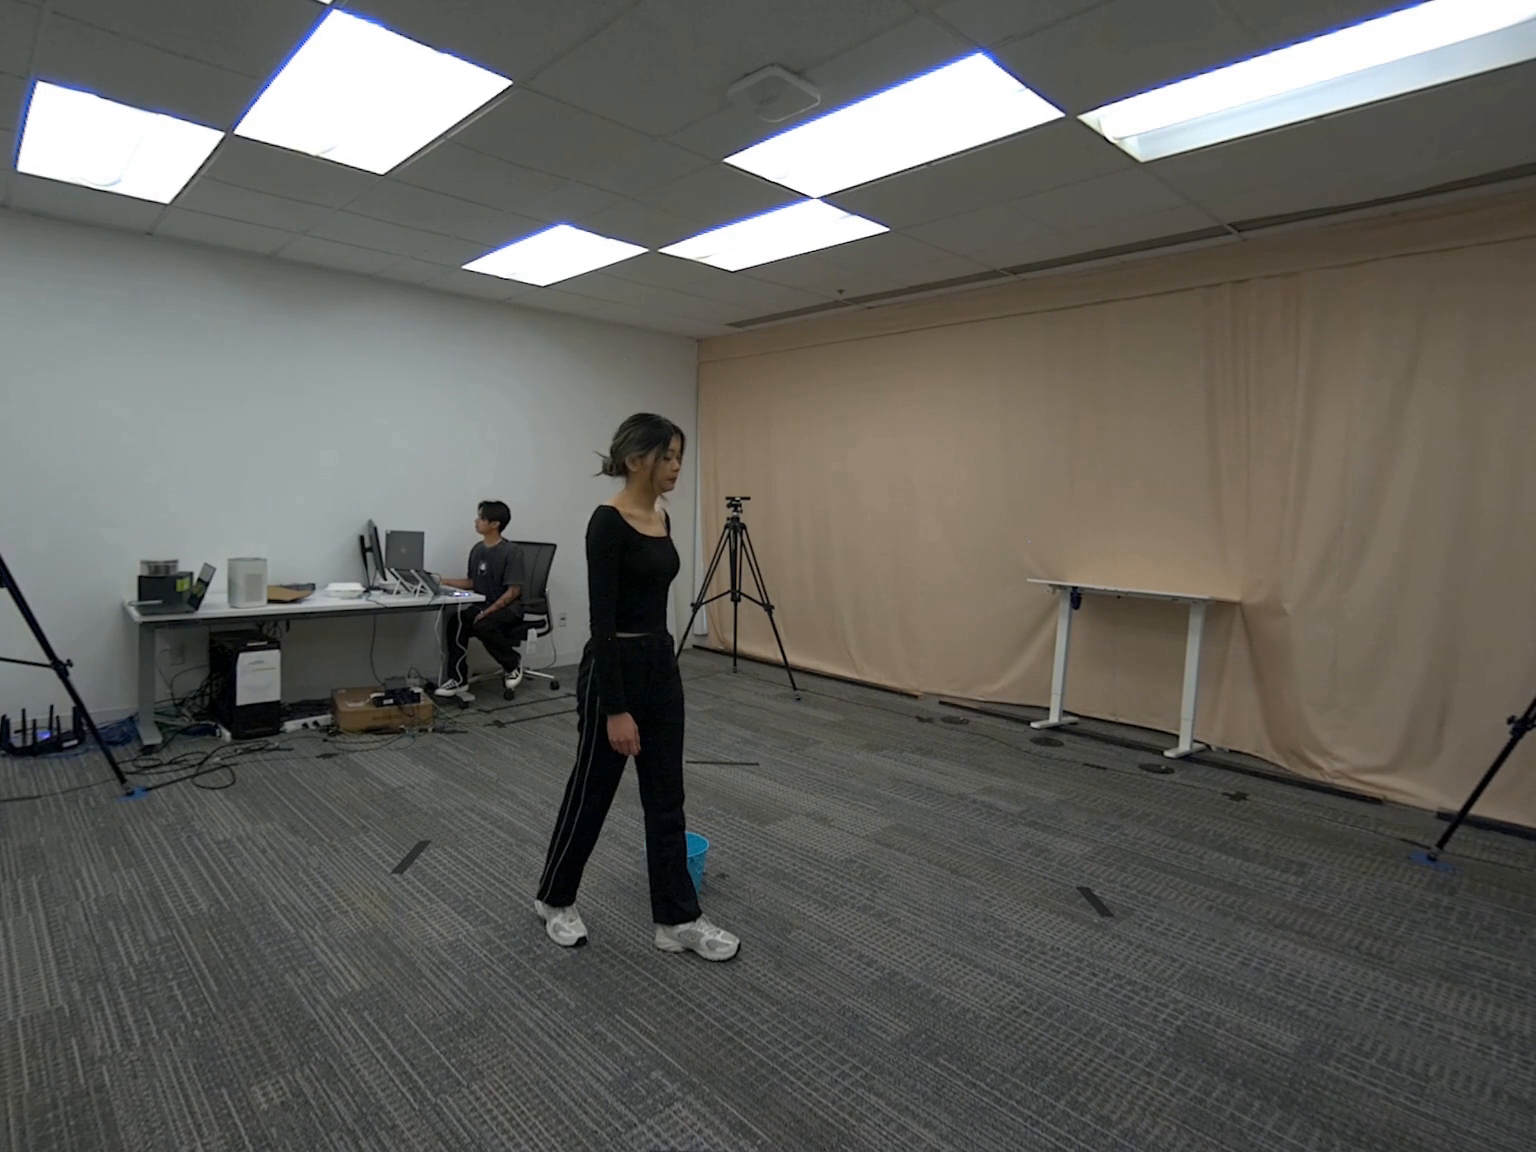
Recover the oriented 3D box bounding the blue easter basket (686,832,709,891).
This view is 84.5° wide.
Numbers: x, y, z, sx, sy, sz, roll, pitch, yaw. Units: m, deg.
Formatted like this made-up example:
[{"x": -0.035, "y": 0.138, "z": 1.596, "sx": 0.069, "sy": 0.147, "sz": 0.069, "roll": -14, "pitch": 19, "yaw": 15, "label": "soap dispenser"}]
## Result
[{"x": -0.330, "y": 1.039, "z": 3.008, "sx": 0.243, "sy": 0.155, "sz": 0.244, "roll": 1, "pitch": 5, "yaw": -1, "label": "blue easter basket"}]
